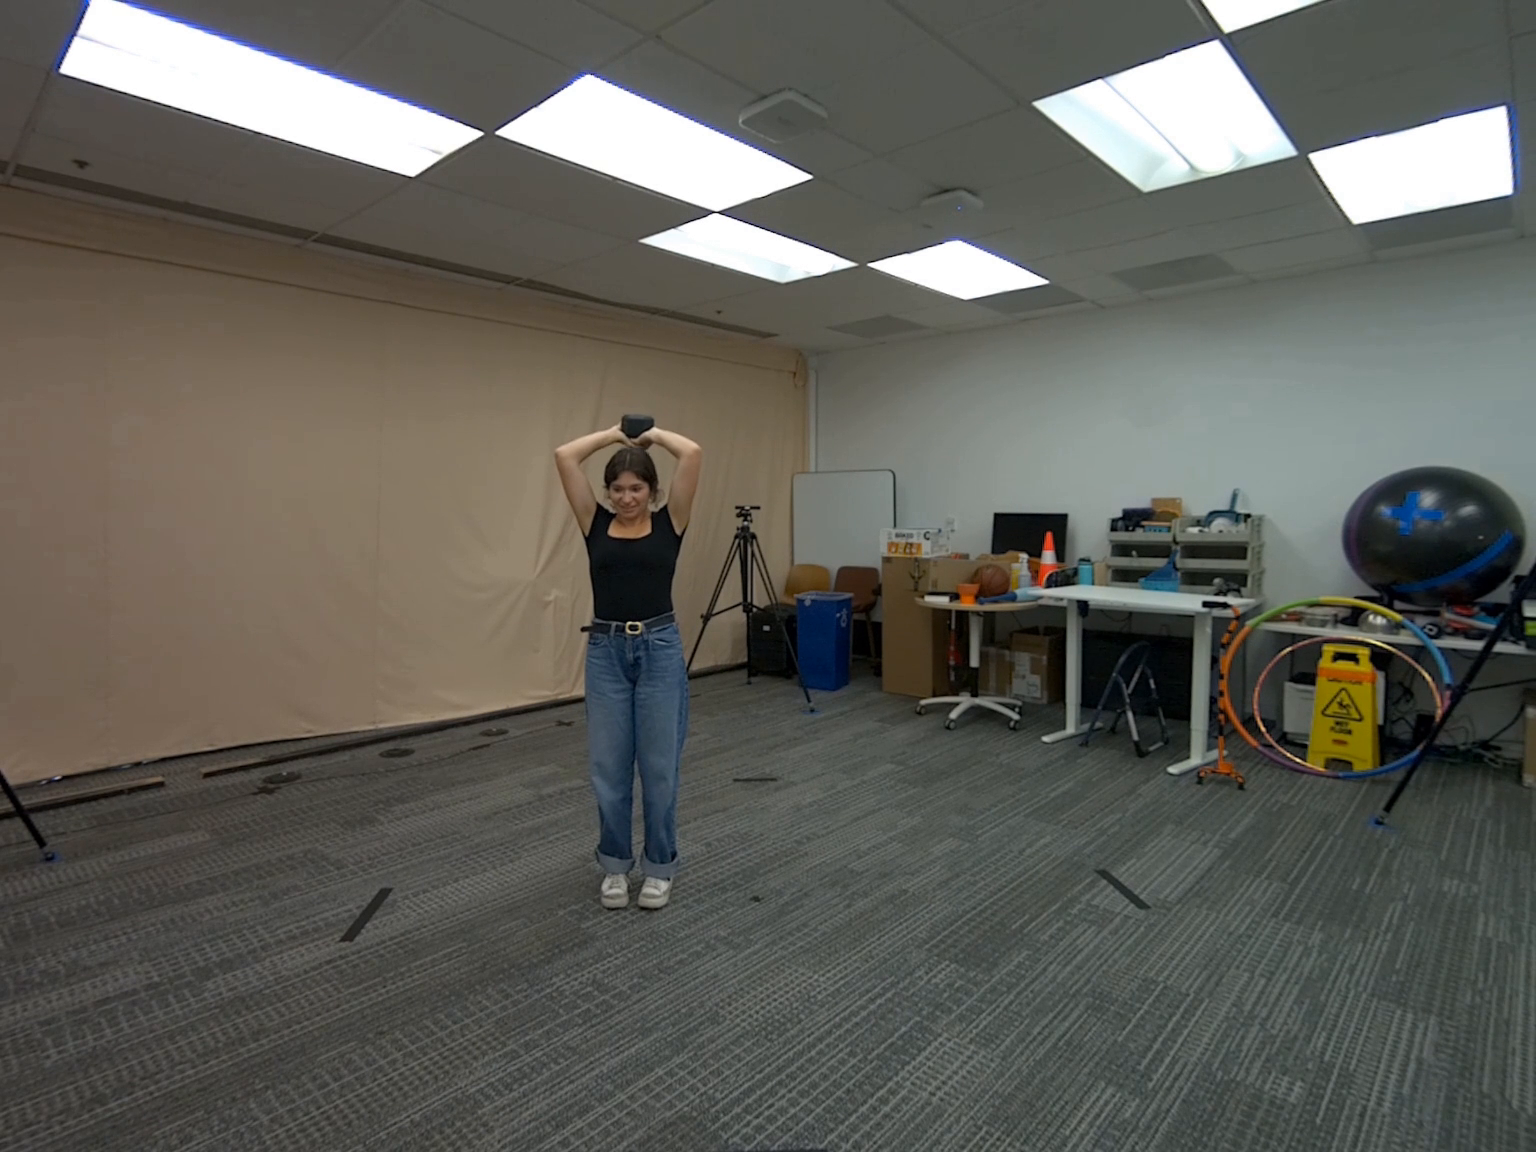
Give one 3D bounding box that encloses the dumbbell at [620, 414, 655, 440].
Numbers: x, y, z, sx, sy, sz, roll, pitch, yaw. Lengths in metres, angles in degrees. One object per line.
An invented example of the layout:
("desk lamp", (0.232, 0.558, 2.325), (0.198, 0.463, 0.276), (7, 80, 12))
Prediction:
("dumbbell", (-0.492, -0.455, 3.141), (0.112, 0.291, 0.120), (13, 16, 34))
